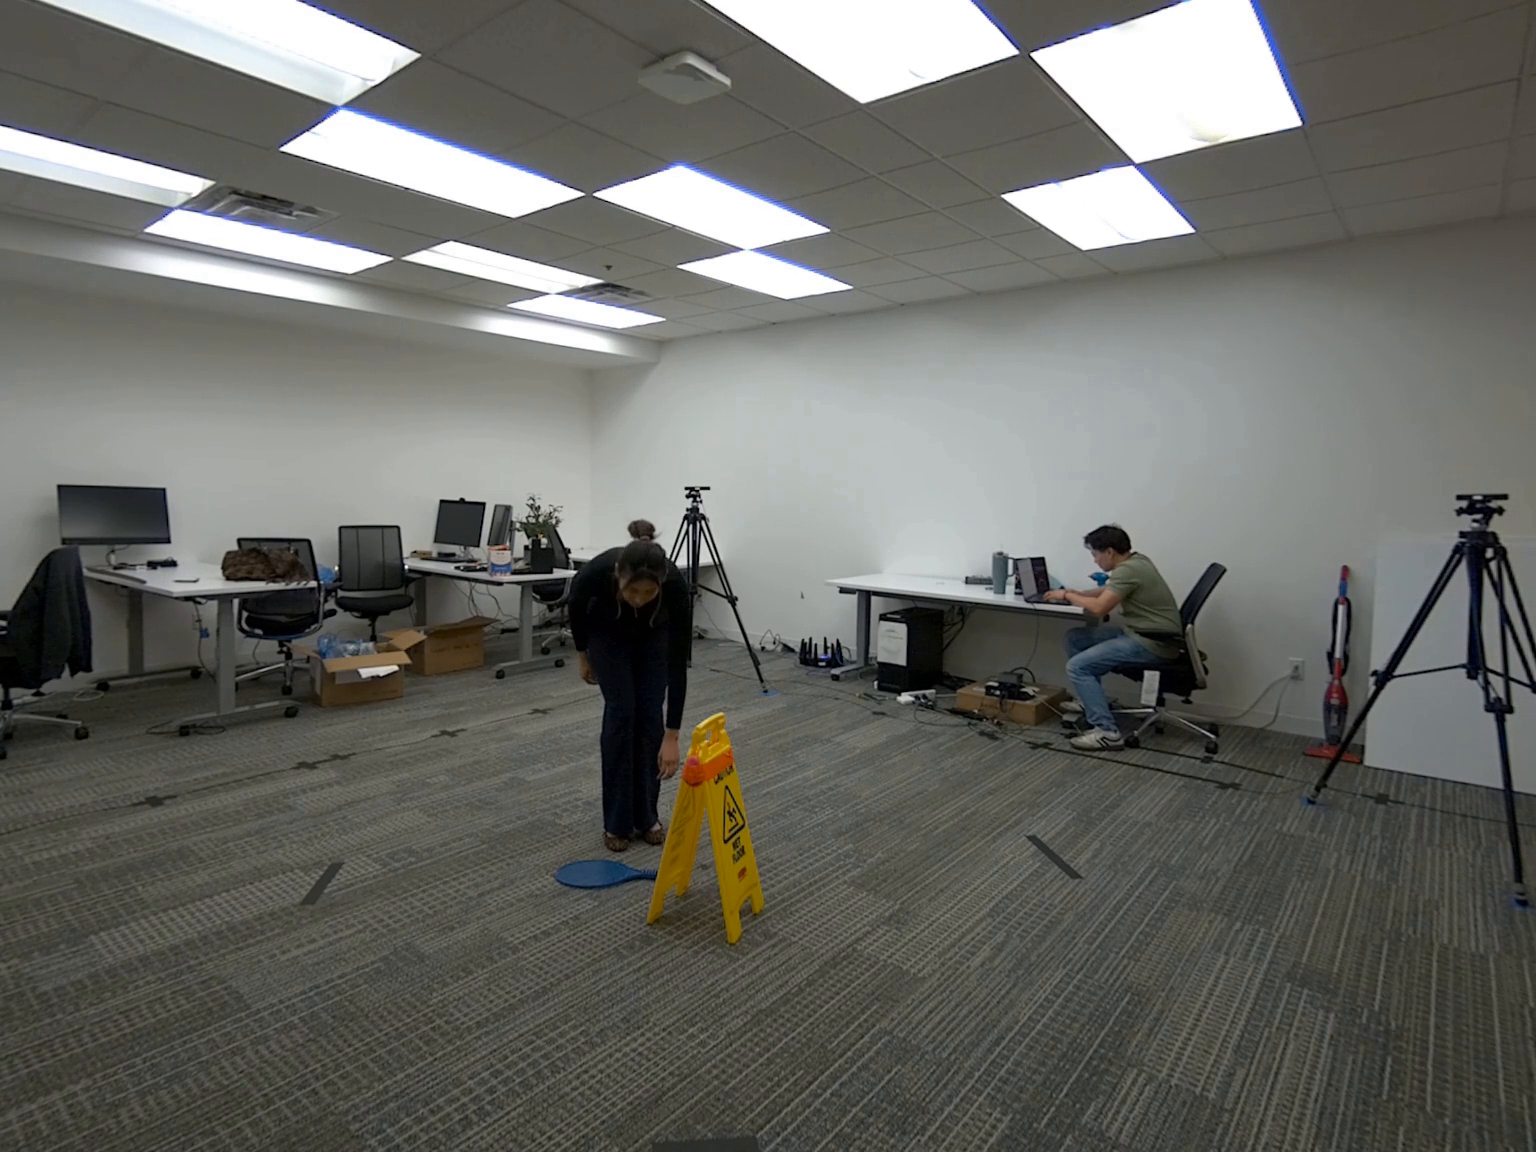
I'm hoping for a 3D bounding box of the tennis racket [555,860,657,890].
[{"bbox_3d":[-0.551,1.051,3.028,0.434,0.031,0.214,0,6,1],"label":"tennis racket"}]
